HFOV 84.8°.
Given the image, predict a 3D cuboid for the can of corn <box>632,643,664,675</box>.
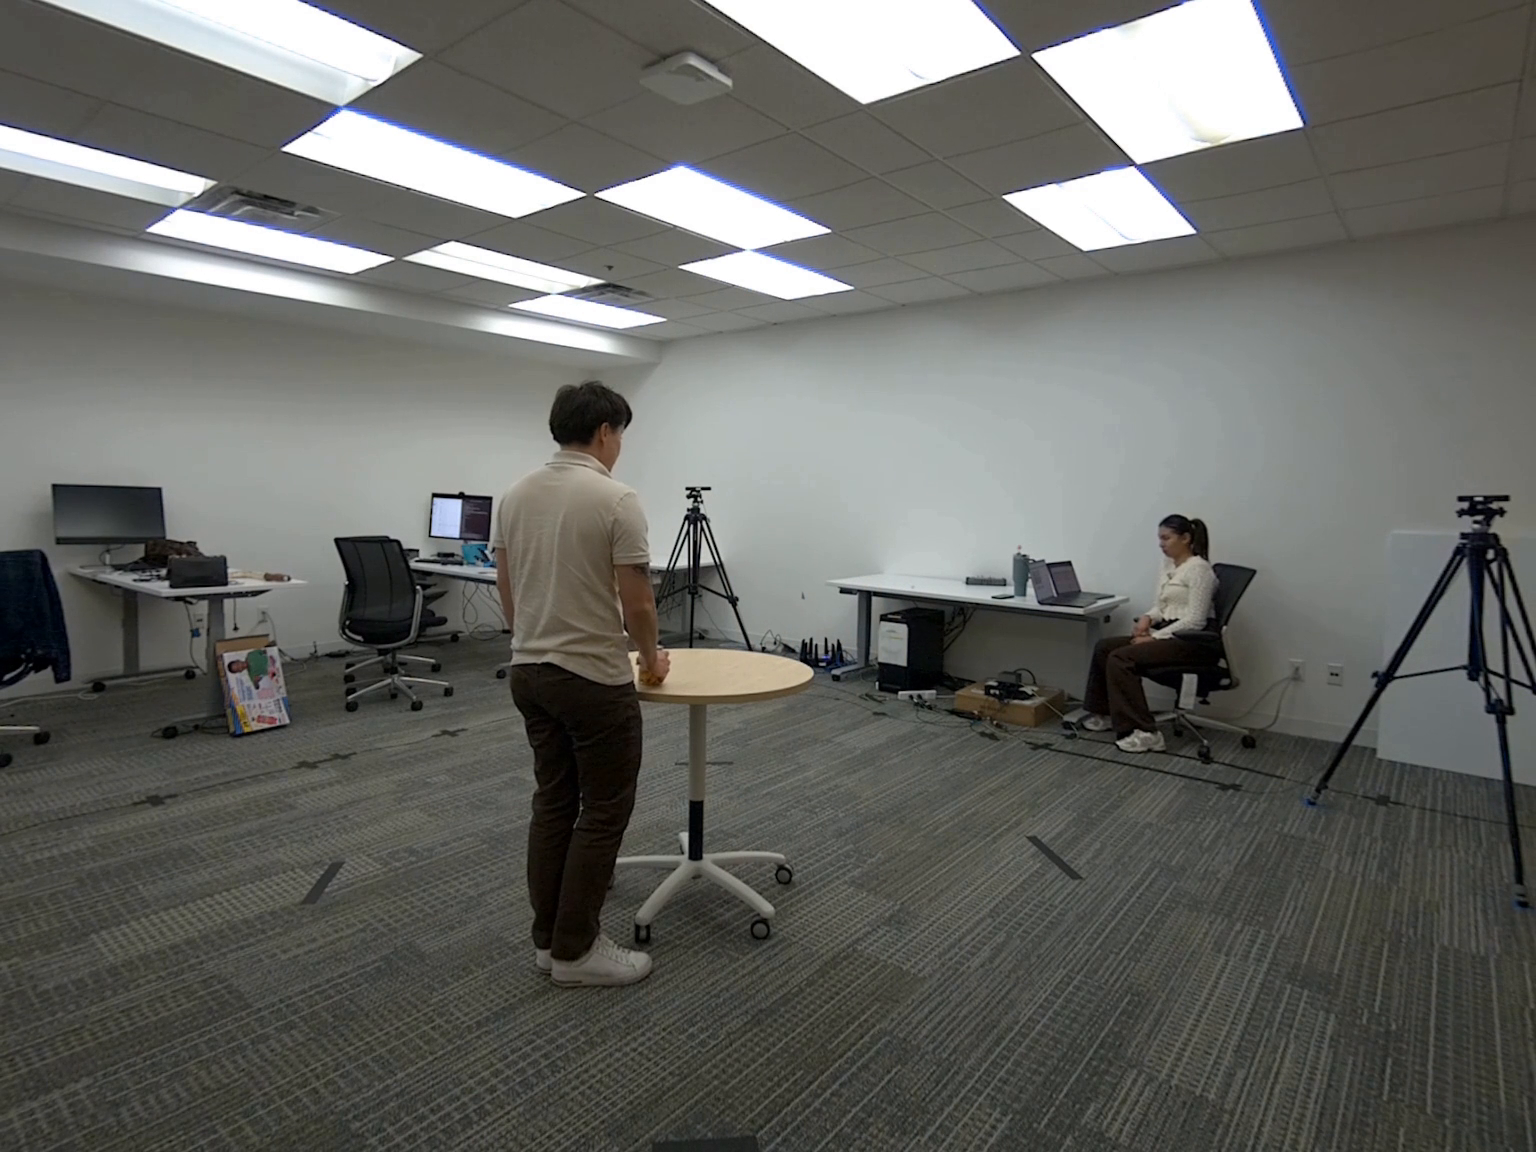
[{"bbox_3d":[-0.366,0.283,2.592,0.074,0.109,0.075,-2,14,-1],"label":"can of corn"}]
